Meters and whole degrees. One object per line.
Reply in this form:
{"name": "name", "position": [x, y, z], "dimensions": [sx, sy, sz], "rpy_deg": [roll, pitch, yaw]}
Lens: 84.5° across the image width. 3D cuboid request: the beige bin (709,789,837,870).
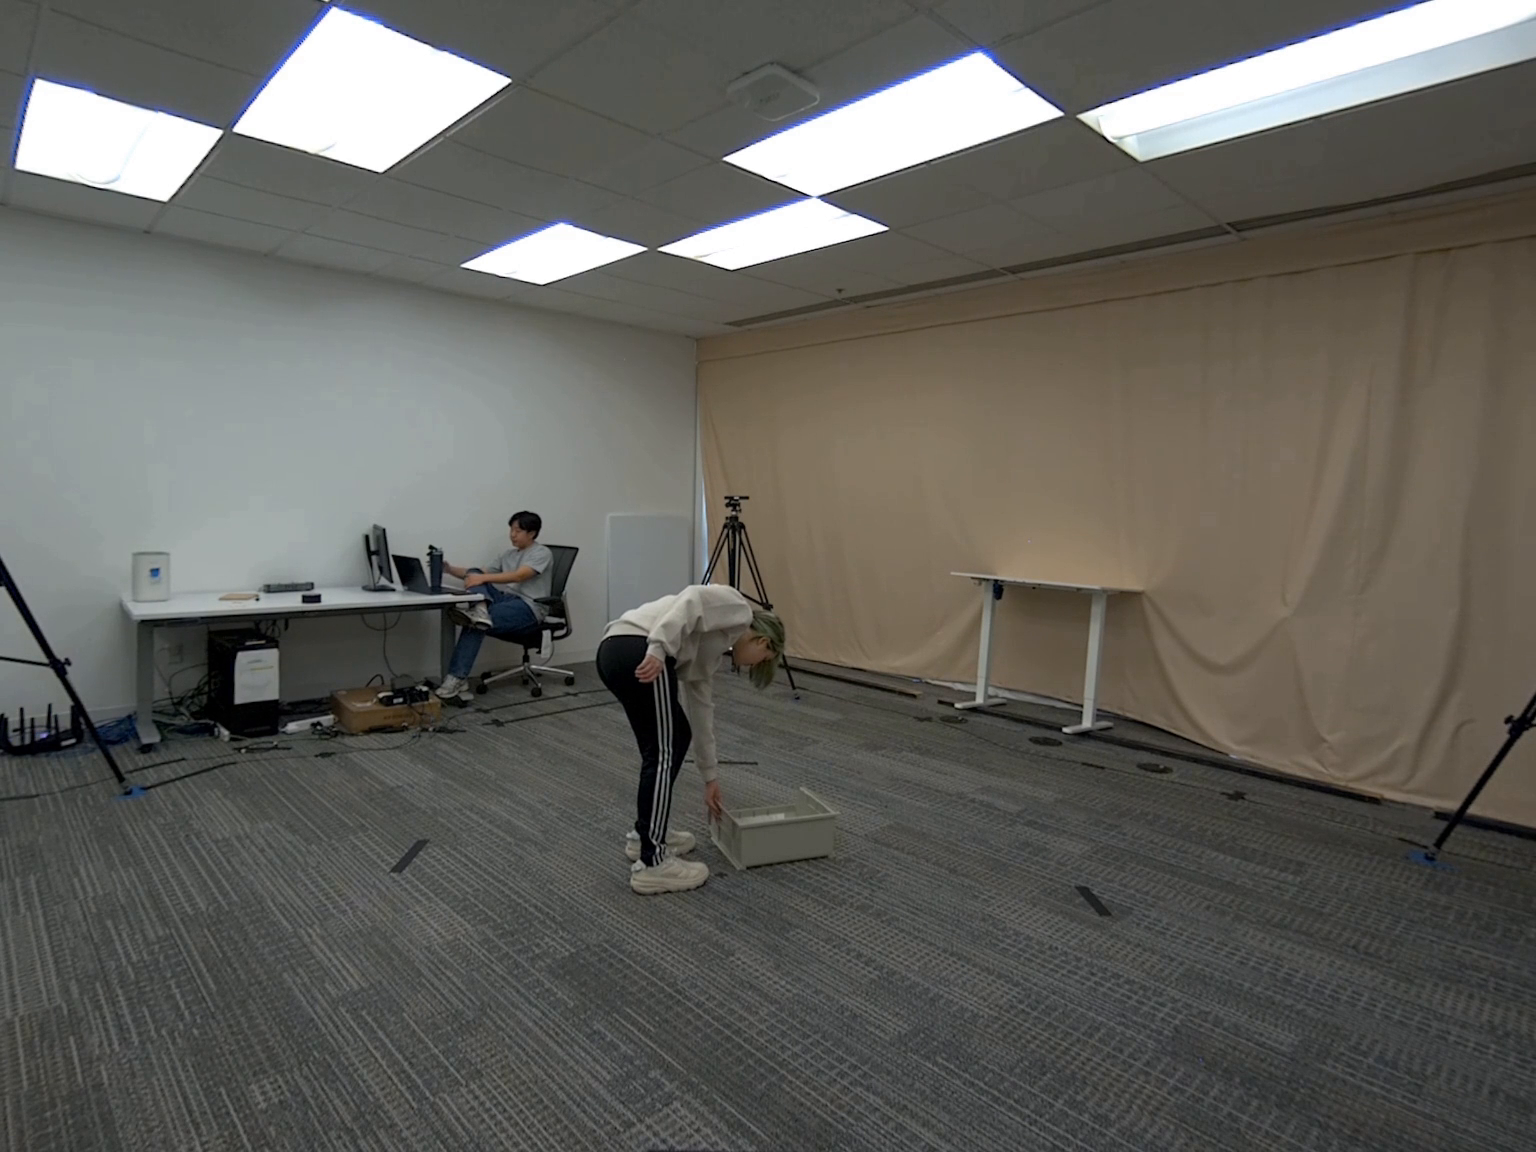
{"name": "beige bin", "position": [0.003, 0.994, 3.374], "dimensions": [0.415, 0.188, 0.384], "rpy_deg": [0, 5, -22]}
